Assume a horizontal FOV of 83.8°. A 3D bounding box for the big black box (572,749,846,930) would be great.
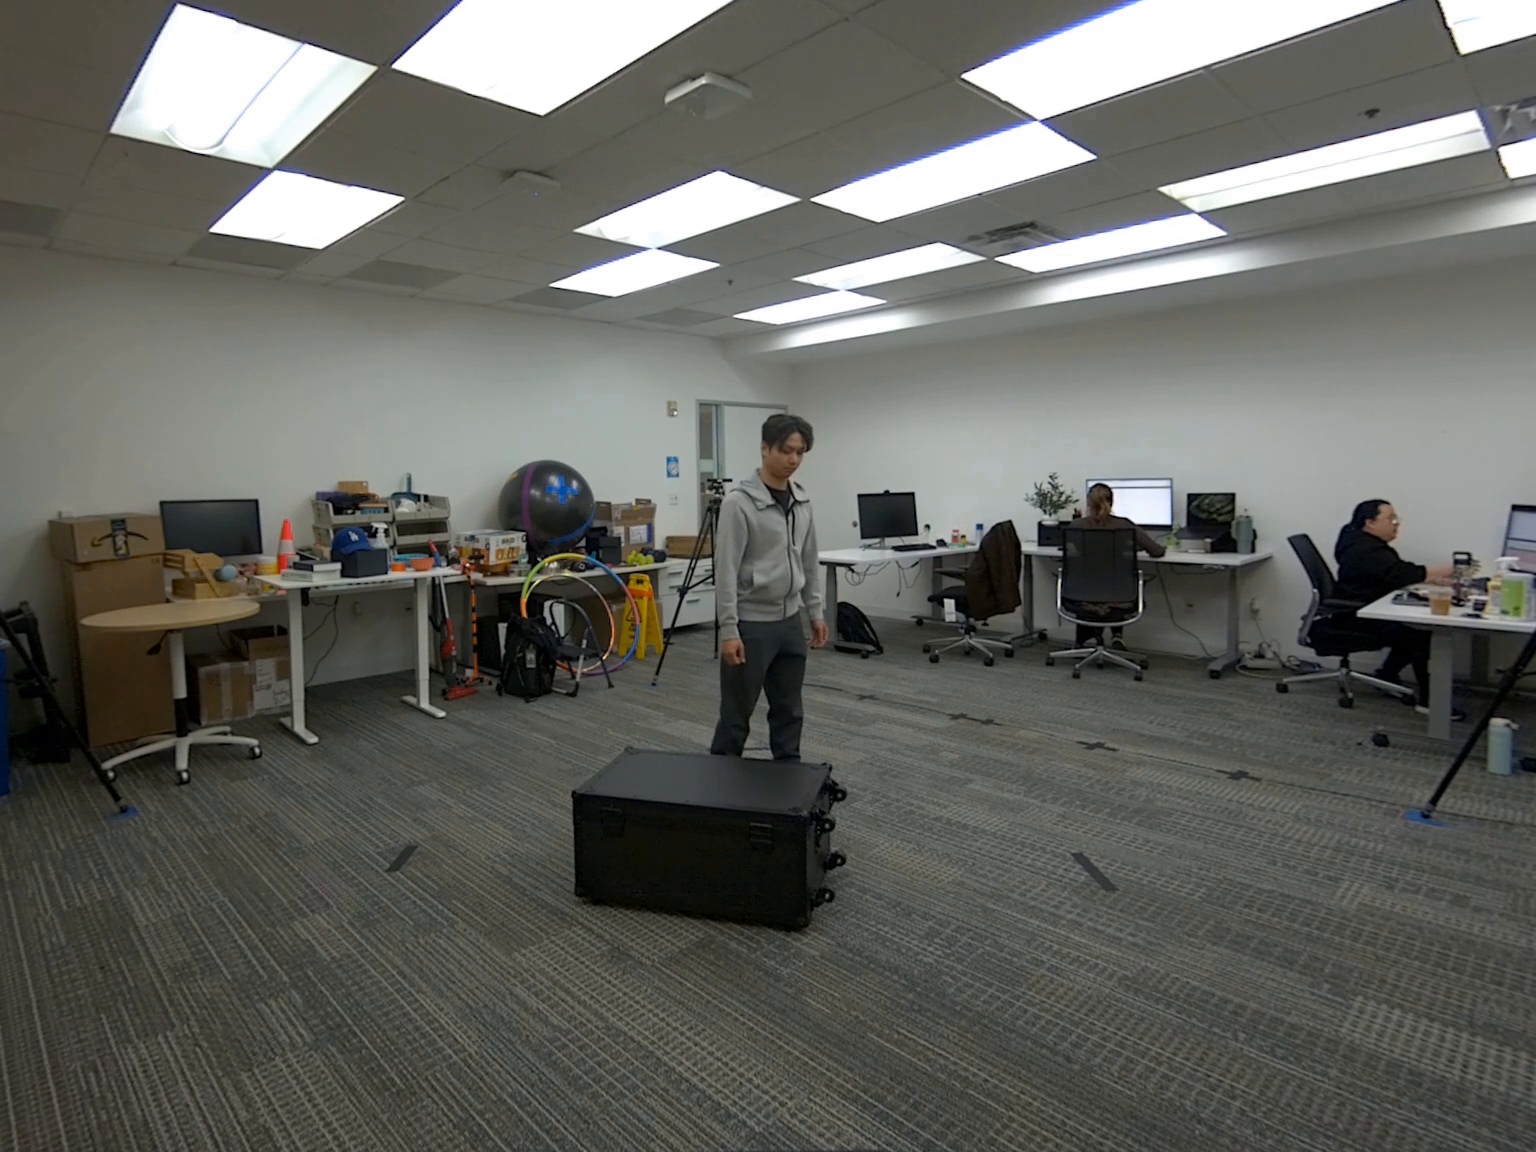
[{"bbox_3d":[-0.181,0.873,2.927,0.875,0.395,0.515,0,5,16],"label":"big black box"}]
